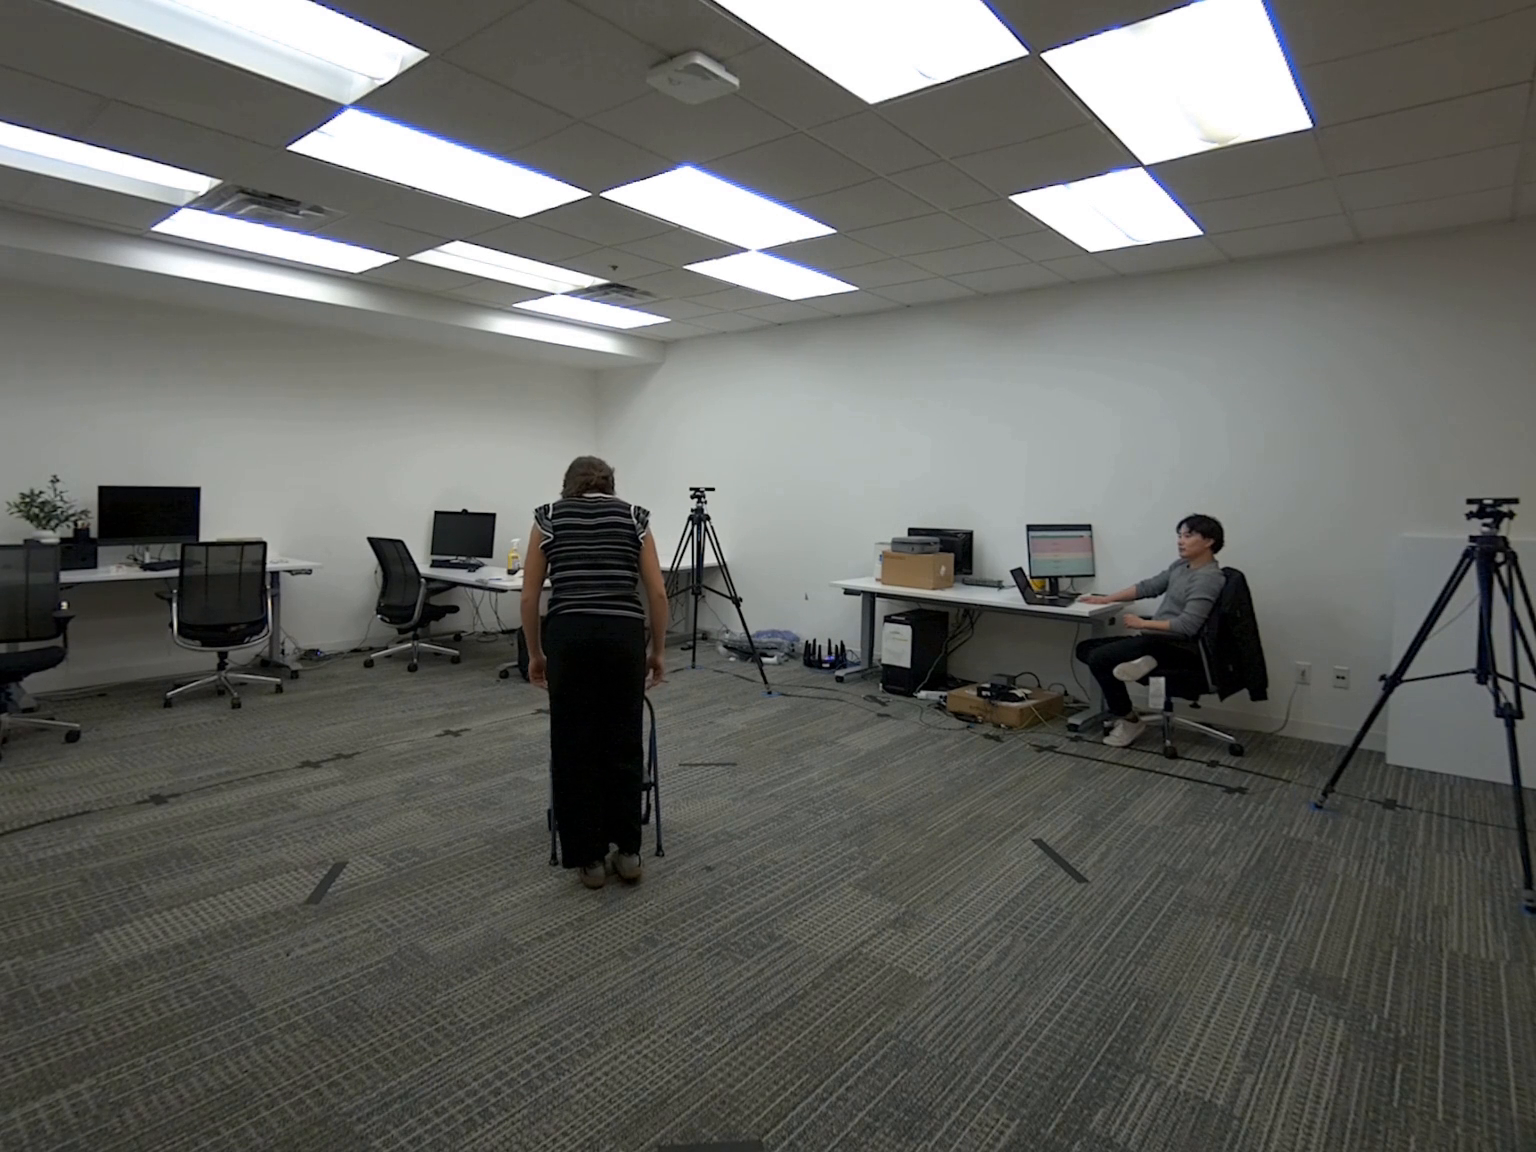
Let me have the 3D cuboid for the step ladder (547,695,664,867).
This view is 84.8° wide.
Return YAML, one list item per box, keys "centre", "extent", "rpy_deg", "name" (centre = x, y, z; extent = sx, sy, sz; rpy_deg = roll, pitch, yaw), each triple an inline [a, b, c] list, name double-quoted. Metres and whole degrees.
- centre: [-0.647, 0.733, 3.315]
  extent: [0.424, 0.604, 0.356]
  rpy_deg: [1, 3, -16]
  name: "step ladder"
